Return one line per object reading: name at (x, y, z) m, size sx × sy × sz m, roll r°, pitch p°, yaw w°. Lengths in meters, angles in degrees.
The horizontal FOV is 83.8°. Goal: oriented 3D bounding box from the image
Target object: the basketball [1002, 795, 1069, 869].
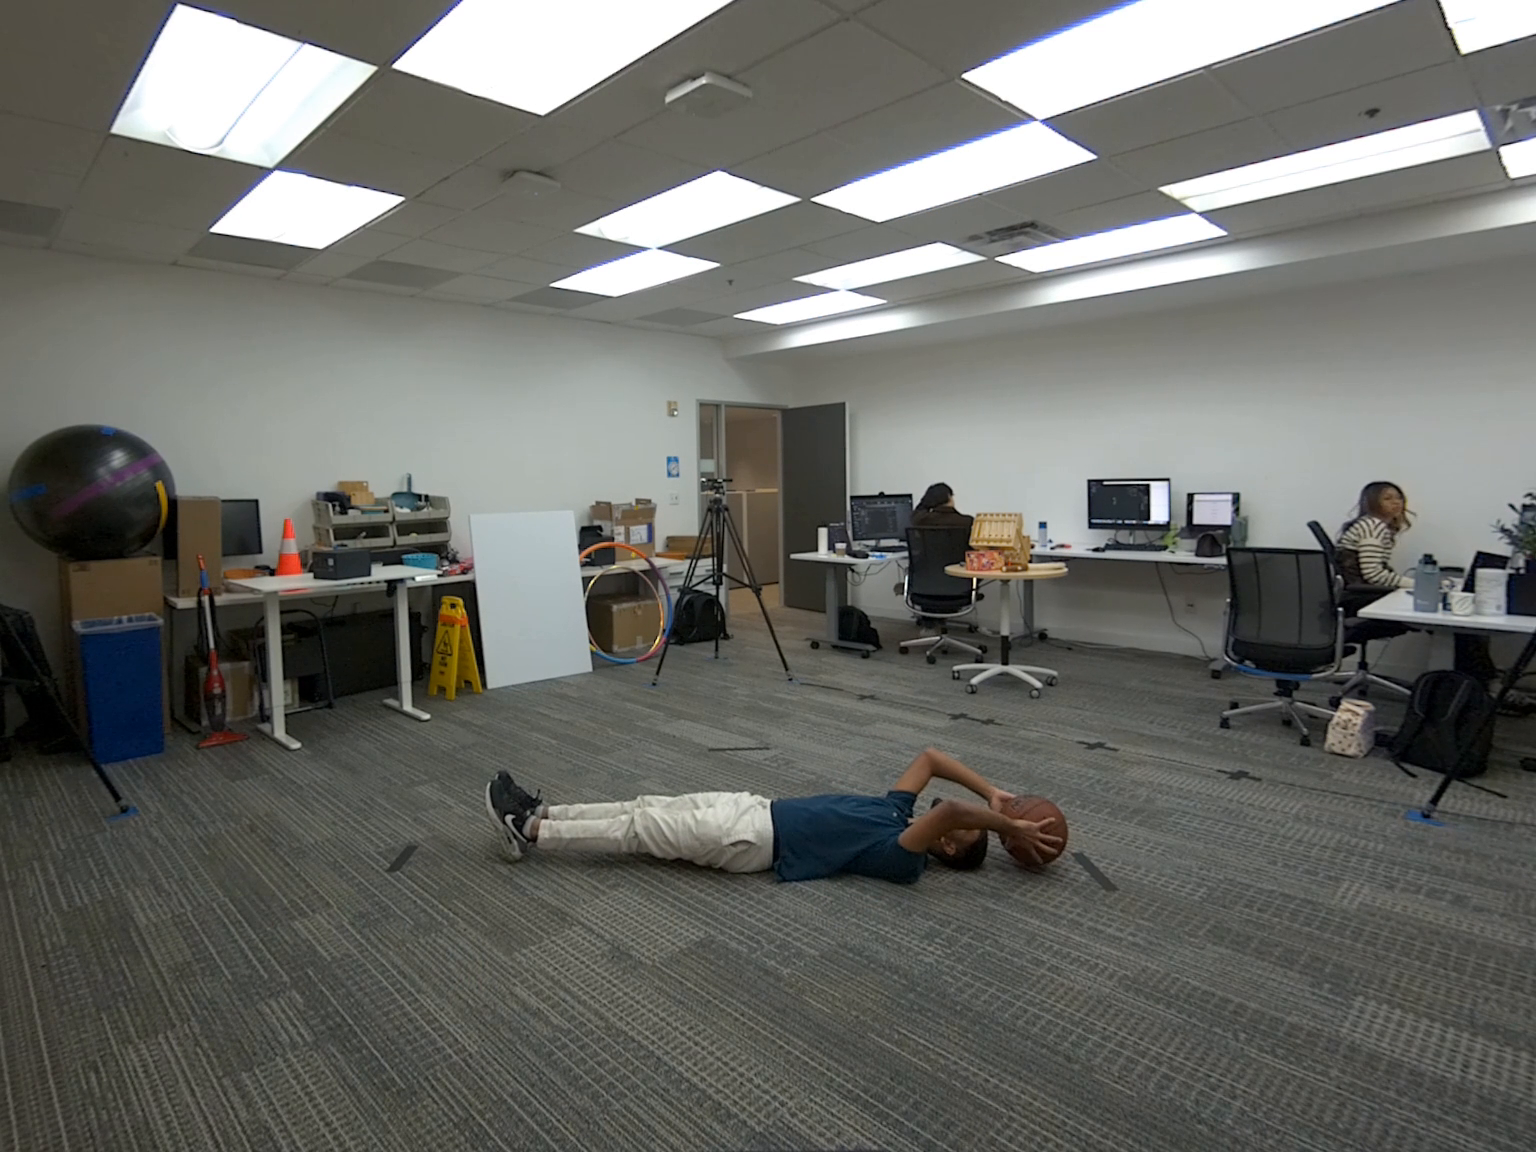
basketball at (0.952, 0.897, 3.041) m, size 0.236 × 0.235 × 0.237 m, roll -1°, pitch 5°, yaw -2°
